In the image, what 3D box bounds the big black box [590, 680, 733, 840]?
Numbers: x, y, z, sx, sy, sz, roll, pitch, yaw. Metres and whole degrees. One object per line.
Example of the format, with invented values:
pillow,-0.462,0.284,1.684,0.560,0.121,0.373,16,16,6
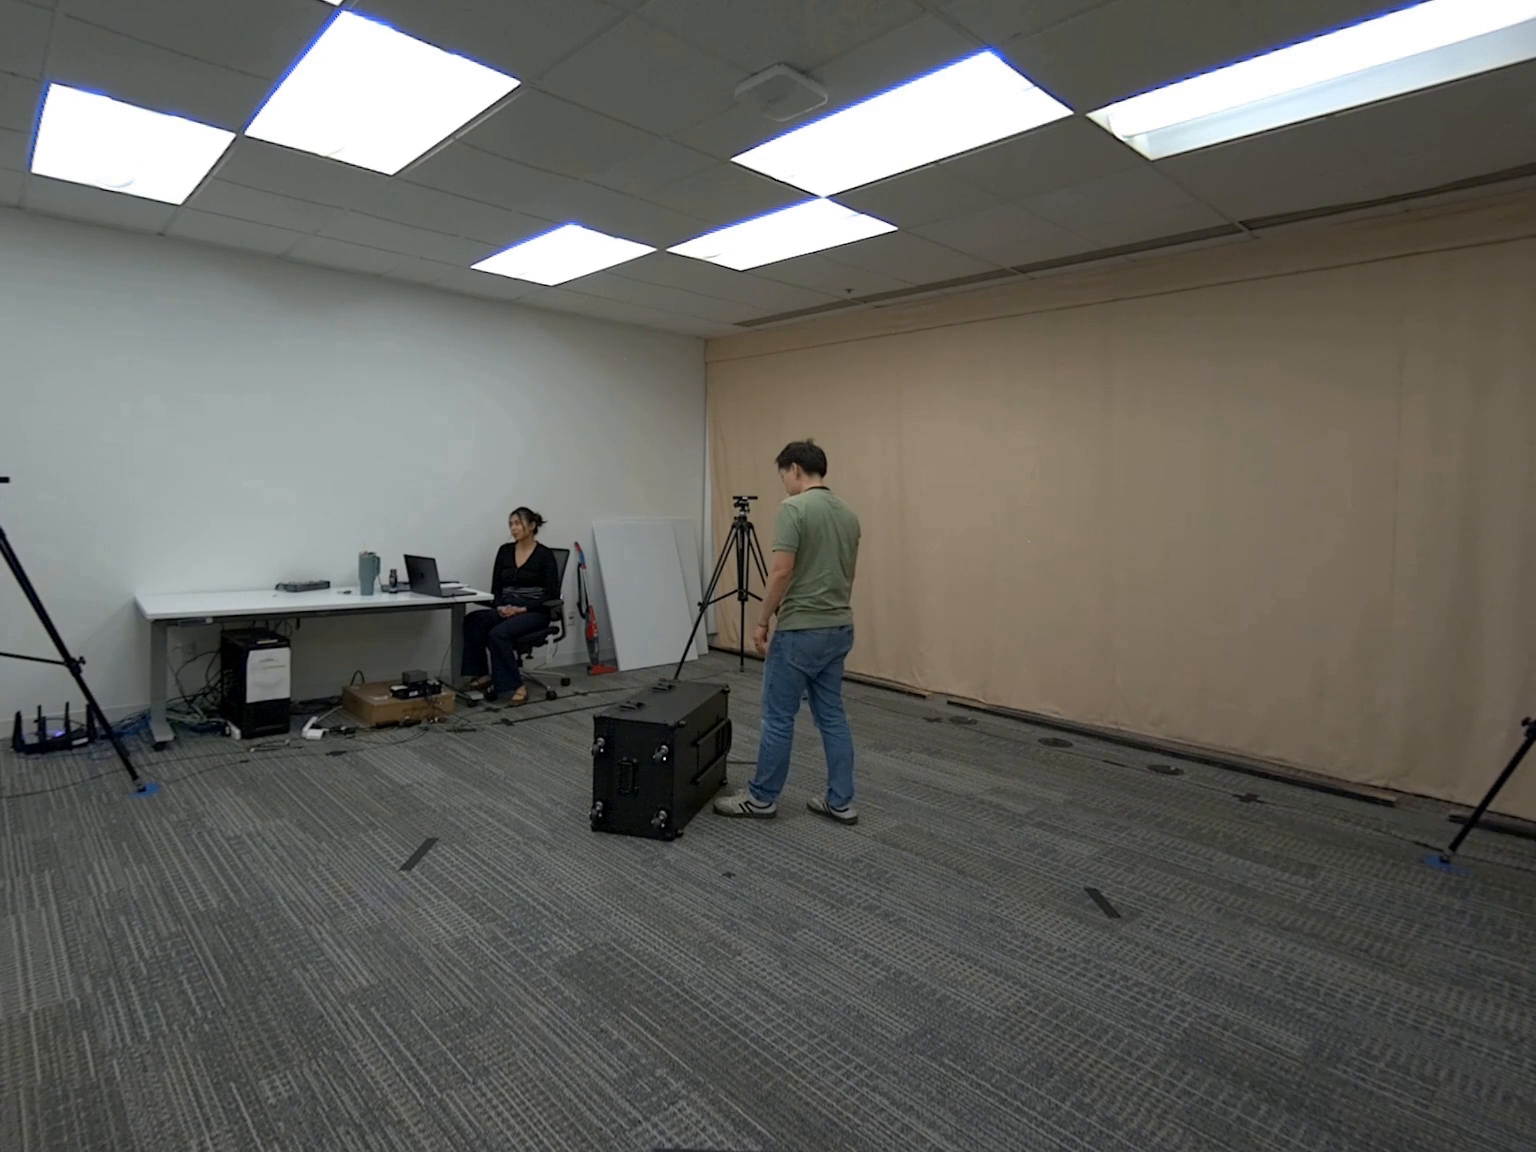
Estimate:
big black box,-0.449,0.782,3.811,0.401,0.520,0.854,2,5,13
